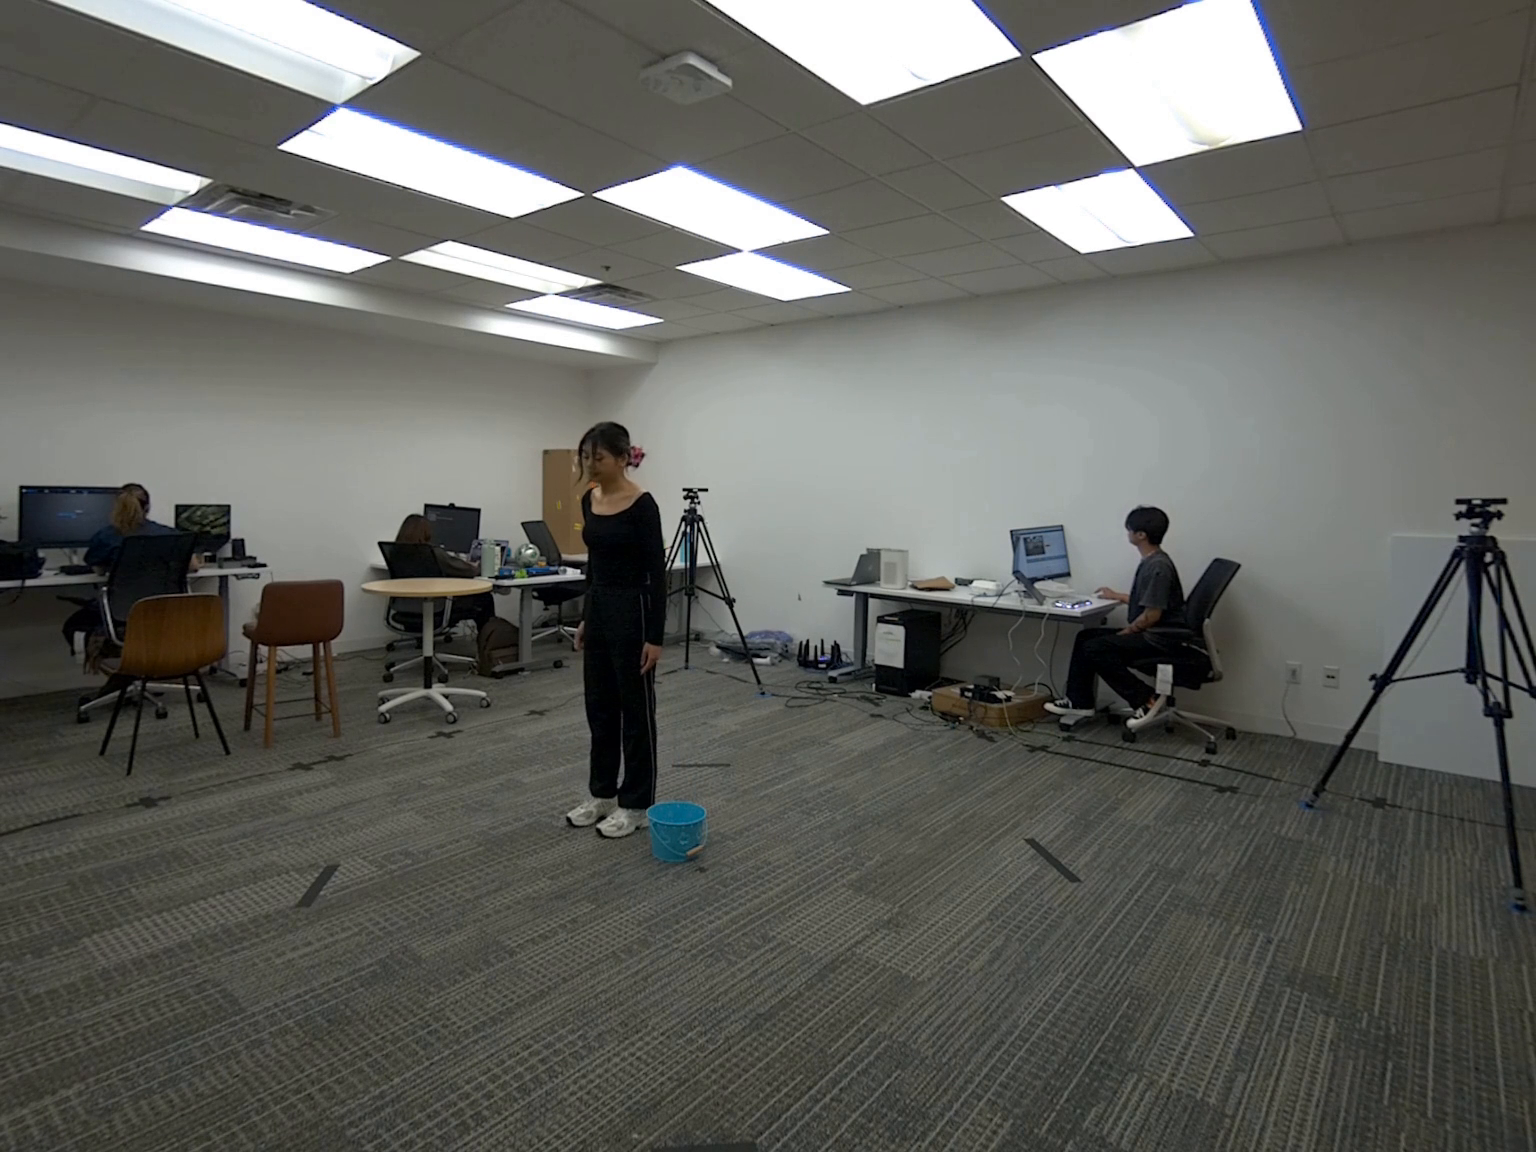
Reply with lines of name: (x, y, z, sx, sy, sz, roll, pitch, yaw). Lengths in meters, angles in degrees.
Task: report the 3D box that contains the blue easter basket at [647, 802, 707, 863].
blue easter basket: (-0.363, 0.976, 3.250, 0.243, 0.155, 0.245, 1, 4, -2)
